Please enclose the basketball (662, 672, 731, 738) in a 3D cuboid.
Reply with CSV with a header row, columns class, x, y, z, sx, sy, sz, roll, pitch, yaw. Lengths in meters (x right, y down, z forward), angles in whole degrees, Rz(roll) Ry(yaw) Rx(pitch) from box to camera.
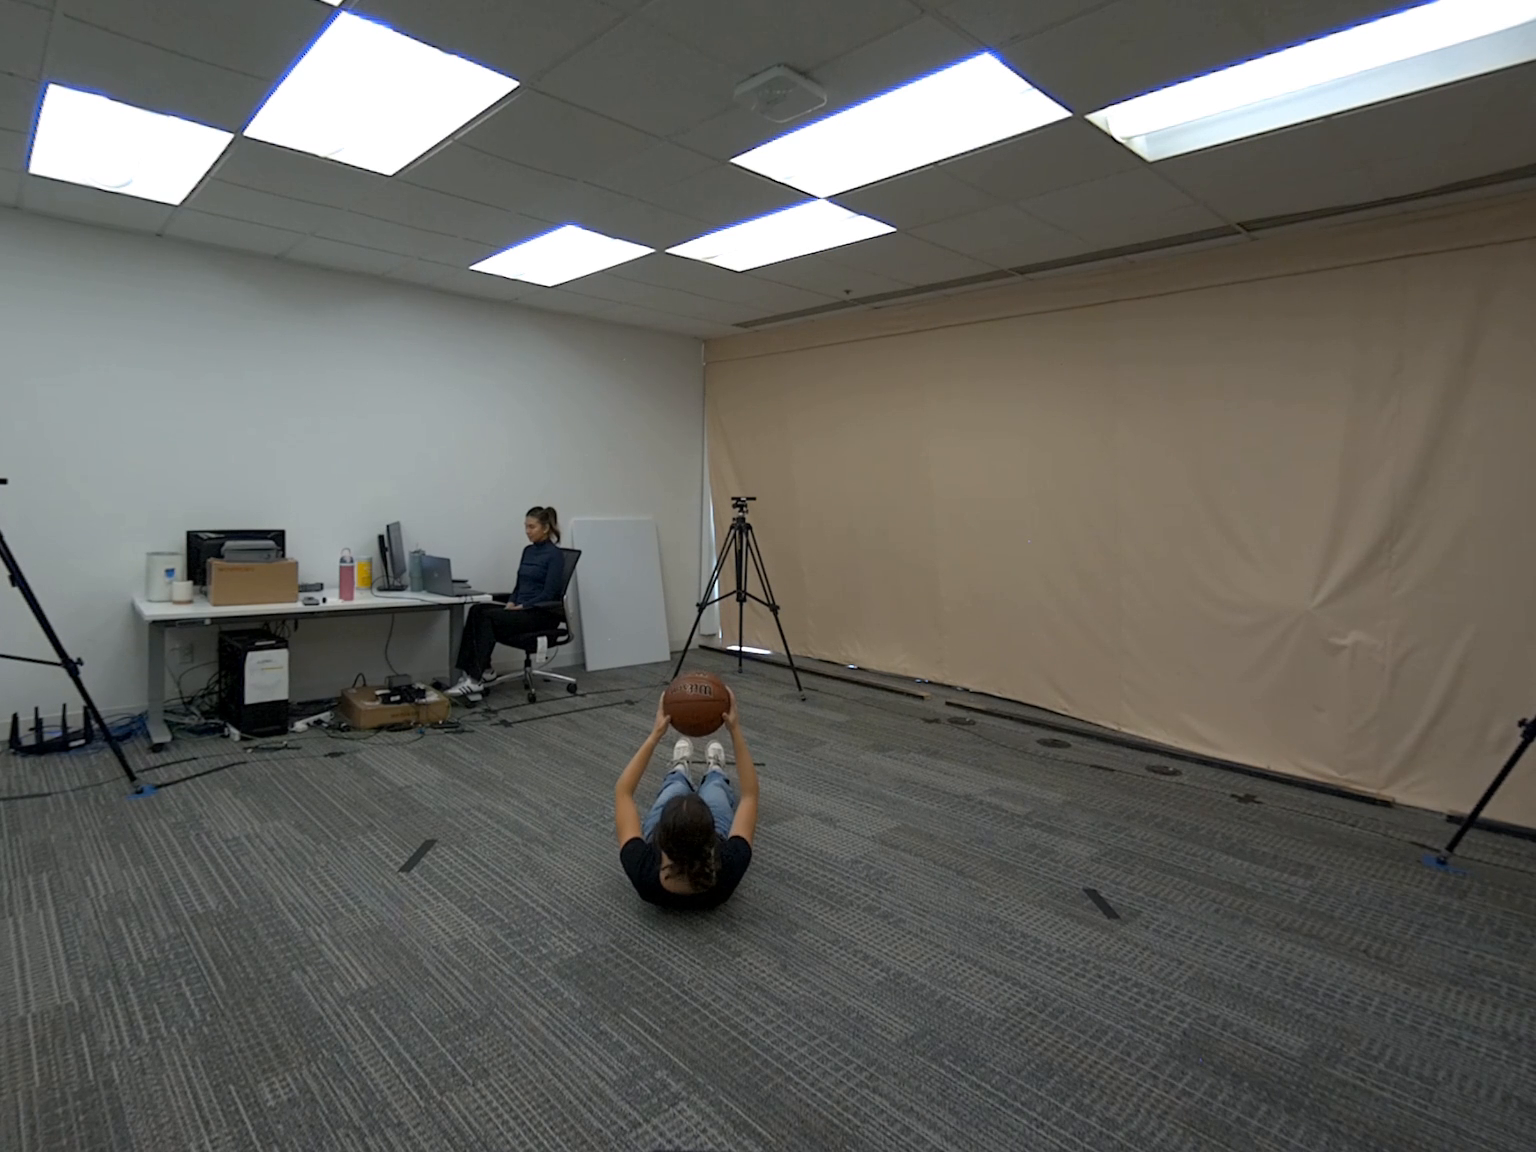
class,x,y,z,sx,sy,sz,roll,pitch,yaw
basketball,-0.260,0.468,3.027,0.236,0.235,0.237,1,4,-1
